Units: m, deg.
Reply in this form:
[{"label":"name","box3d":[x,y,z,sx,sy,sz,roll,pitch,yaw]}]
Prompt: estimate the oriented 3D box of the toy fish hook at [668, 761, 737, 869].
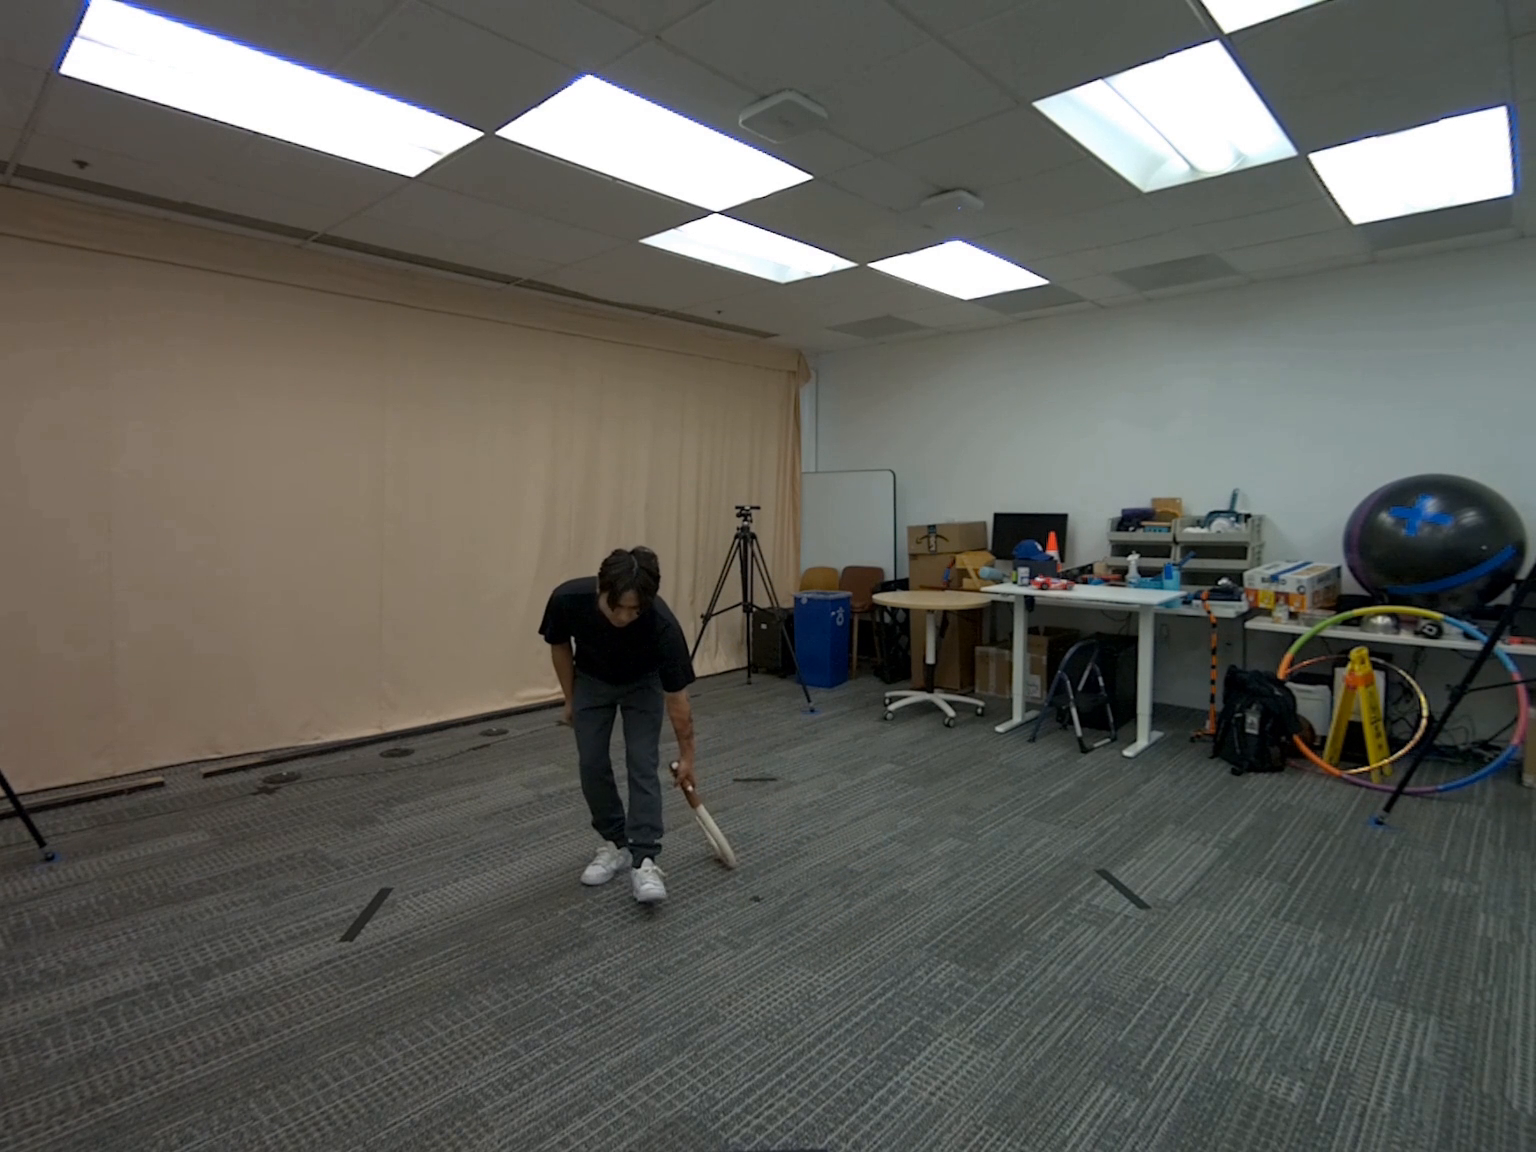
[{"label":"toy fish hook","box3d":[-0.263,0.911,3.218,0.048,0.499,0.230,-34,15,-25]}]
